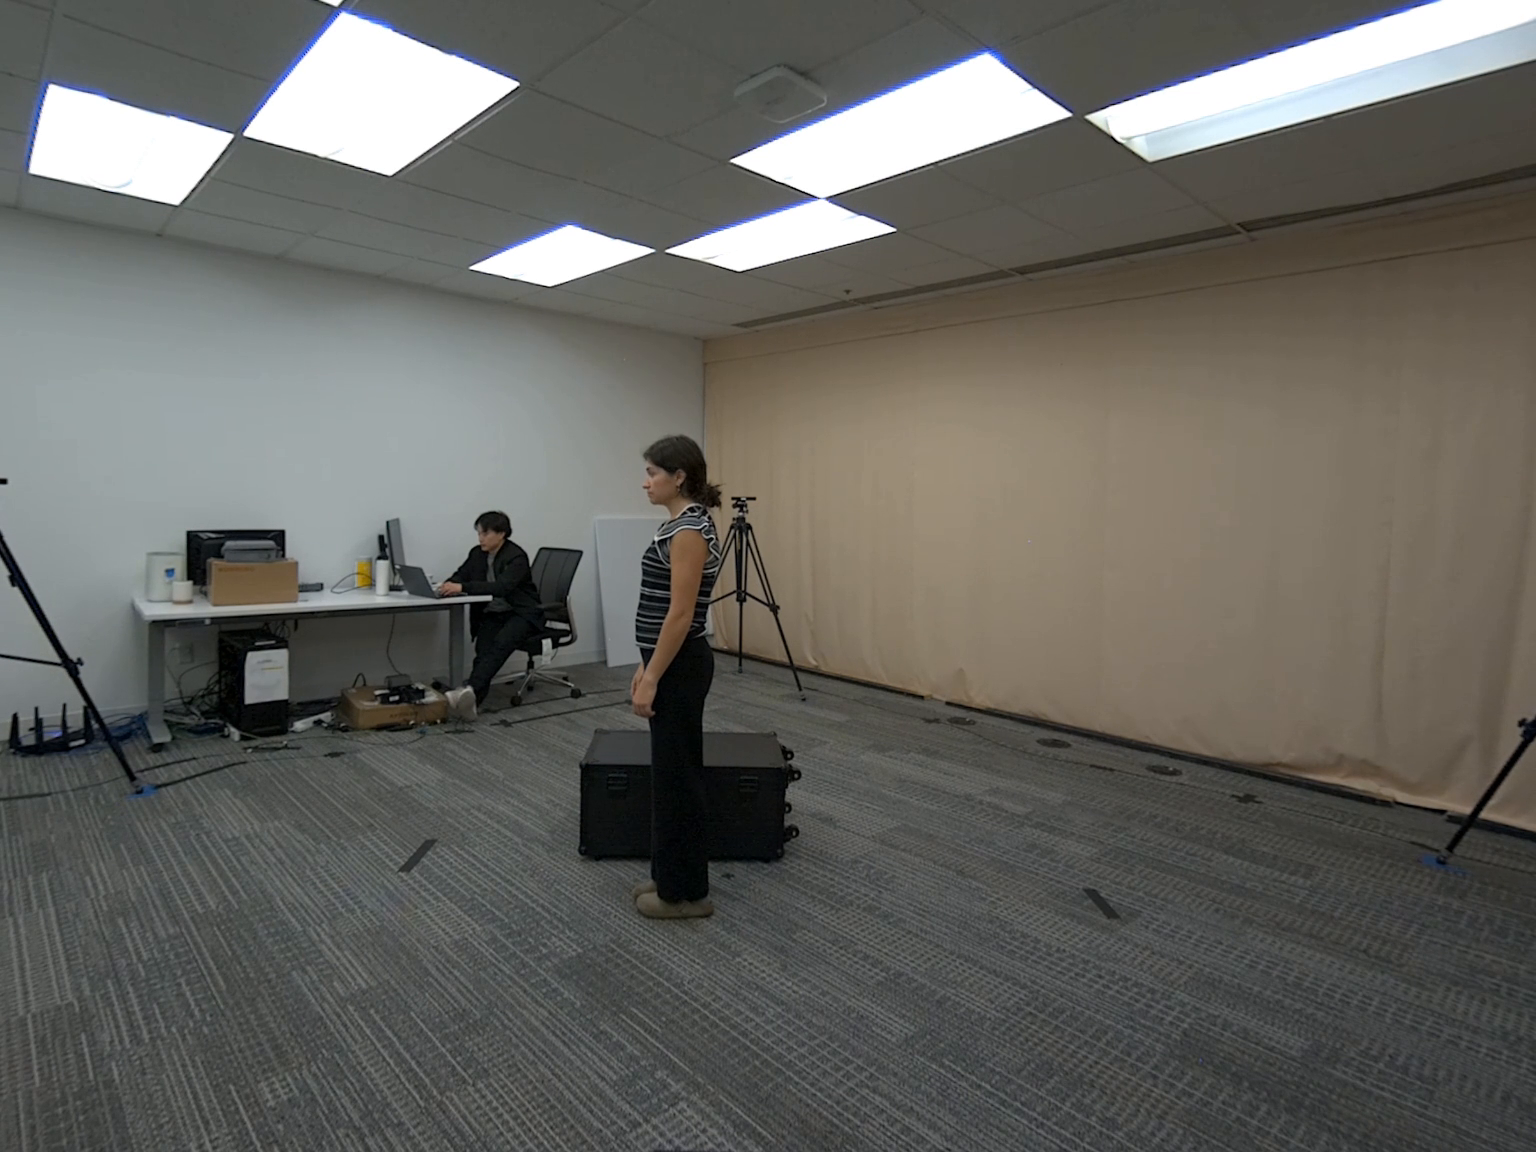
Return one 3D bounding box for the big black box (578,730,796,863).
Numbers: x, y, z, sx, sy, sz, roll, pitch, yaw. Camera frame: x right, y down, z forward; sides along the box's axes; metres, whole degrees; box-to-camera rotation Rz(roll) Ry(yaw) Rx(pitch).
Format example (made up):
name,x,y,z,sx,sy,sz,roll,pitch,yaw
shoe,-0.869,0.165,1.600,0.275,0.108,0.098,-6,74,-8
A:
name,x,y,z,sx,sy,sz,roll,pitch,yaw
big black box,-0.314,0.880,3.432,0.859,0.395,0.524,1,5,-3
